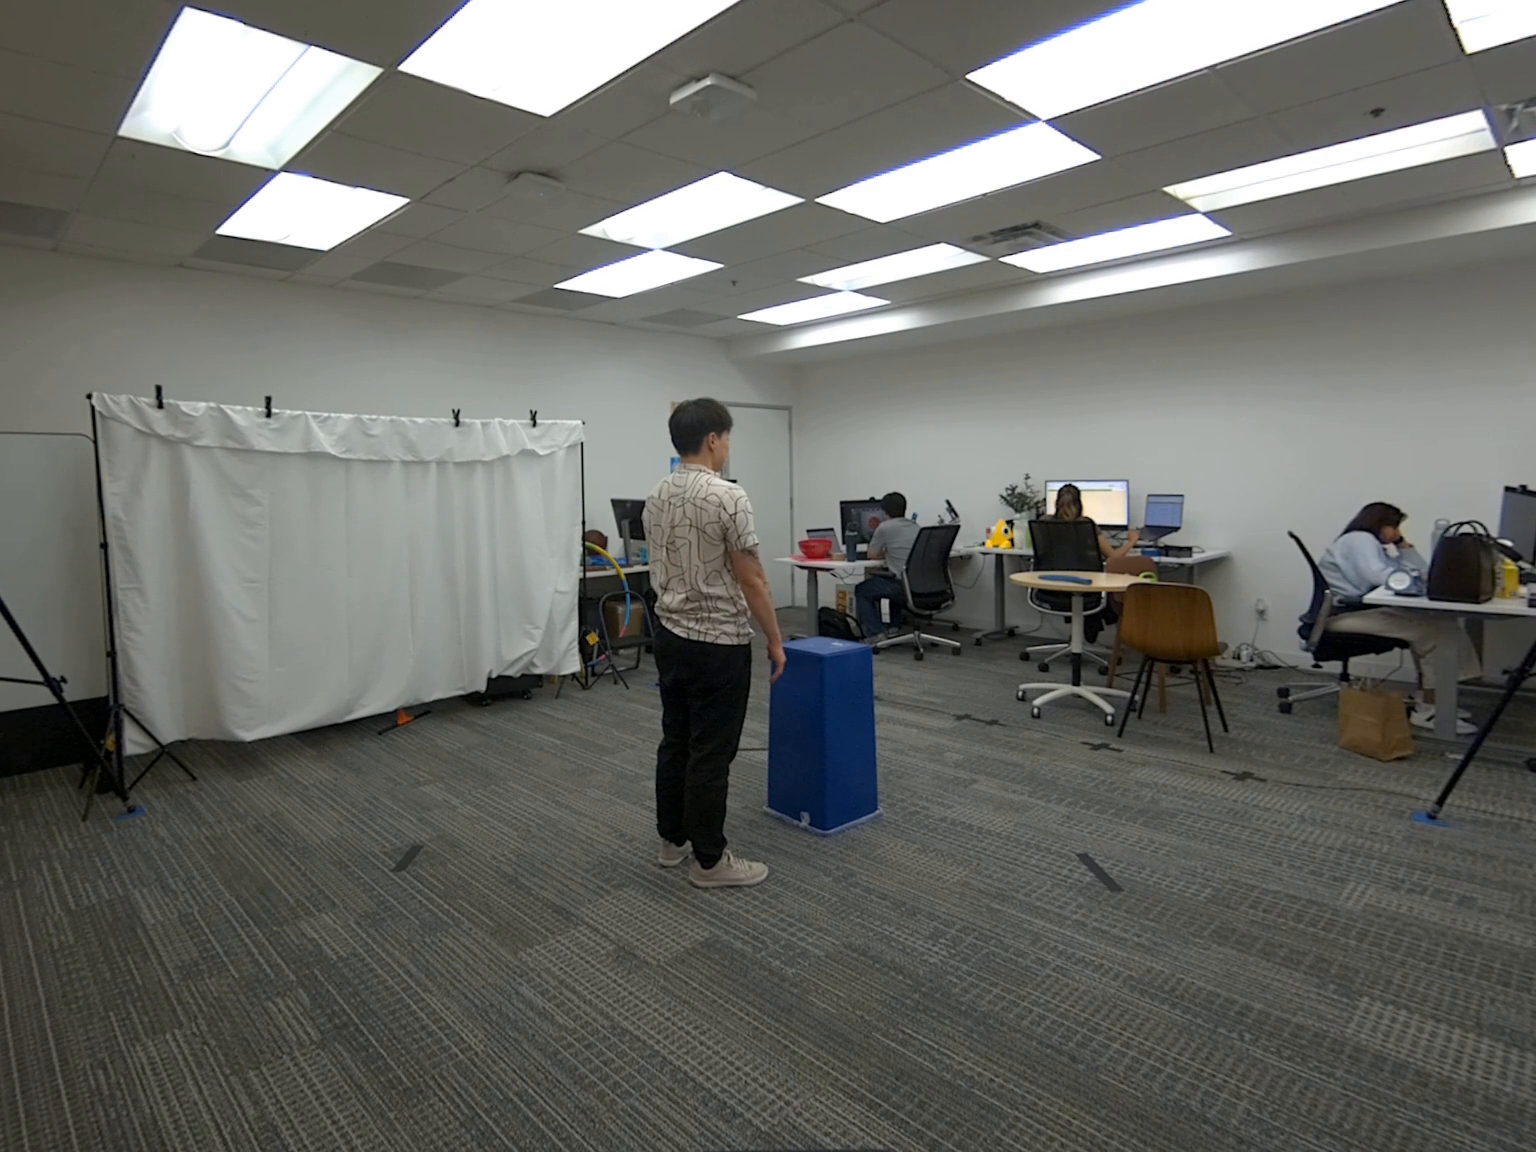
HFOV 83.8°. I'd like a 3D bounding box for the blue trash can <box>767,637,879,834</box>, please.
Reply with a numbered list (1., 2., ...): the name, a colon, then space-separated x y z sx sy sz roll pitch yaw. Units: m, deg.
1. blue trash can: 0.225 0.636 3.563 0.368 0.711 0.385 -3 4 -42
